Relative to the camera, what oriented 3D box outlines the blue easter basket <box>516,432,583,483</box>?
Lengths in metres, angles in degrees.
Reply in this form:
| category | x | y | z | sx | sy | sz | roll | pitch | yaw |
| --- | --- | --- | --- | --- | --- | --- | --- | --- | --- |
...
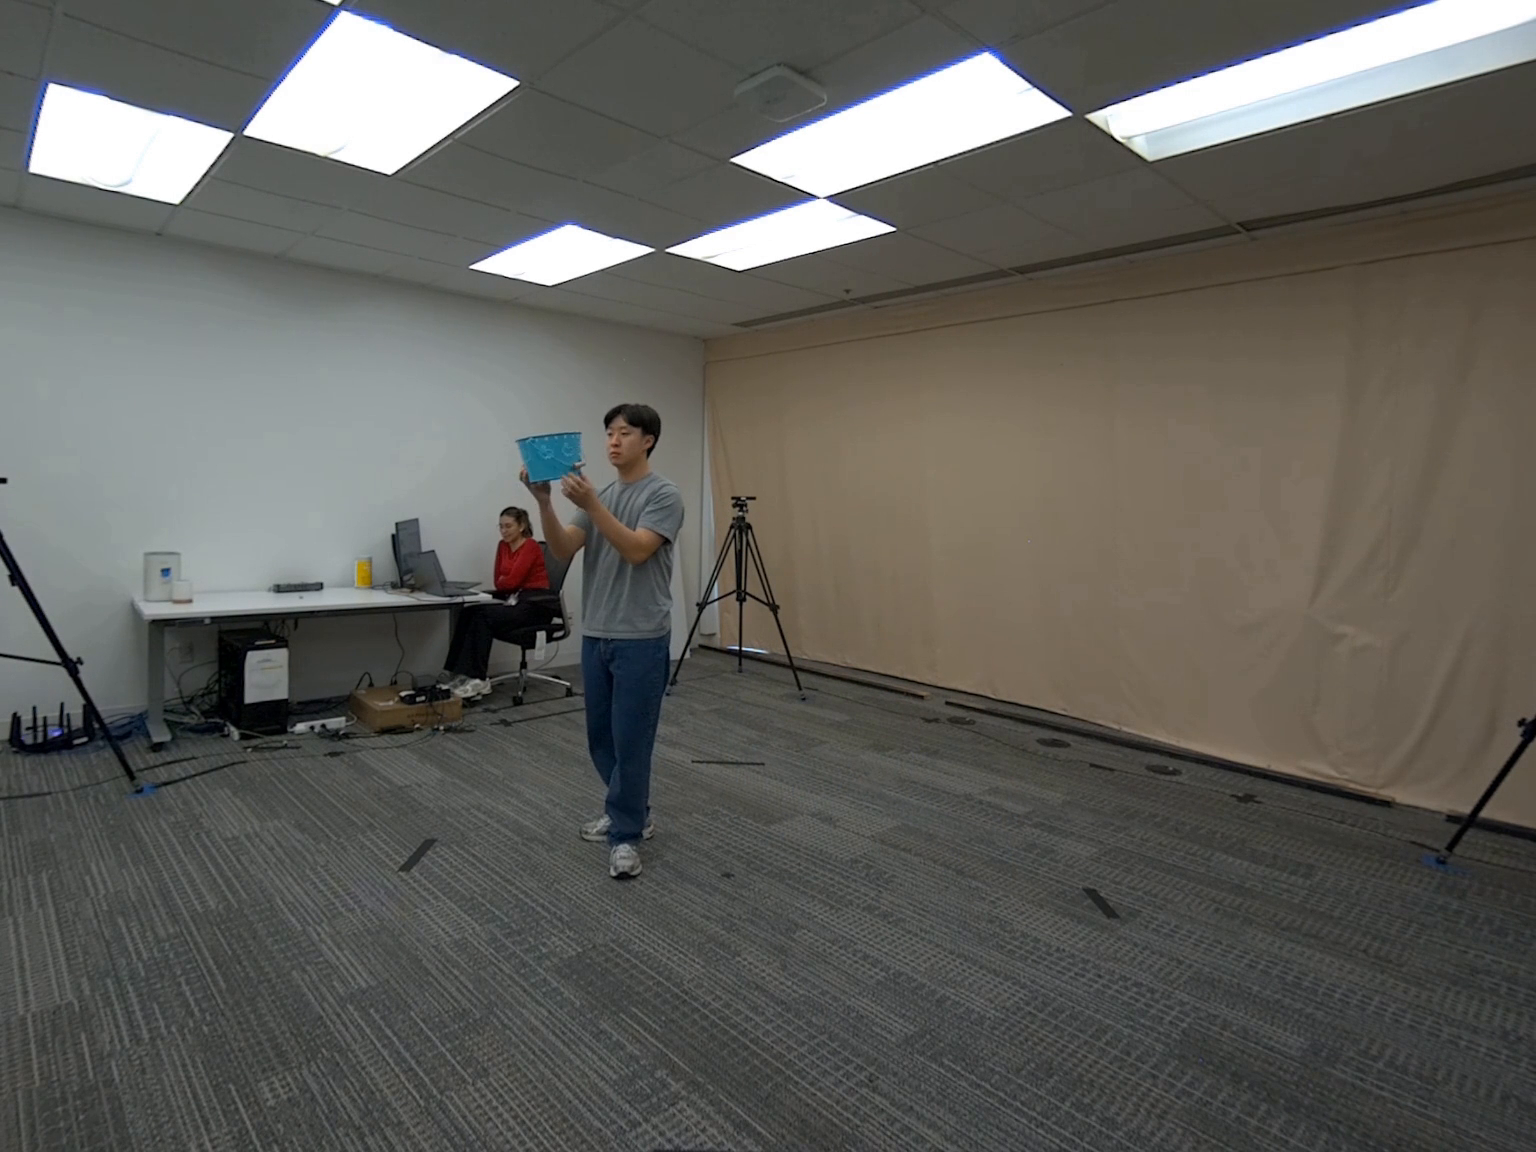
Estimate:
| category | x | y | z | sx | sy | sz | roll | pitch | yaw |
| --- | --- | --- | --- | --- | --- | --- | --- | --- | --- |
| blue easter basket | -0.769 | -0.418 | 2.958 | 0.243 | 0.155 | 0.245 | -8 | 7 | -1 |
